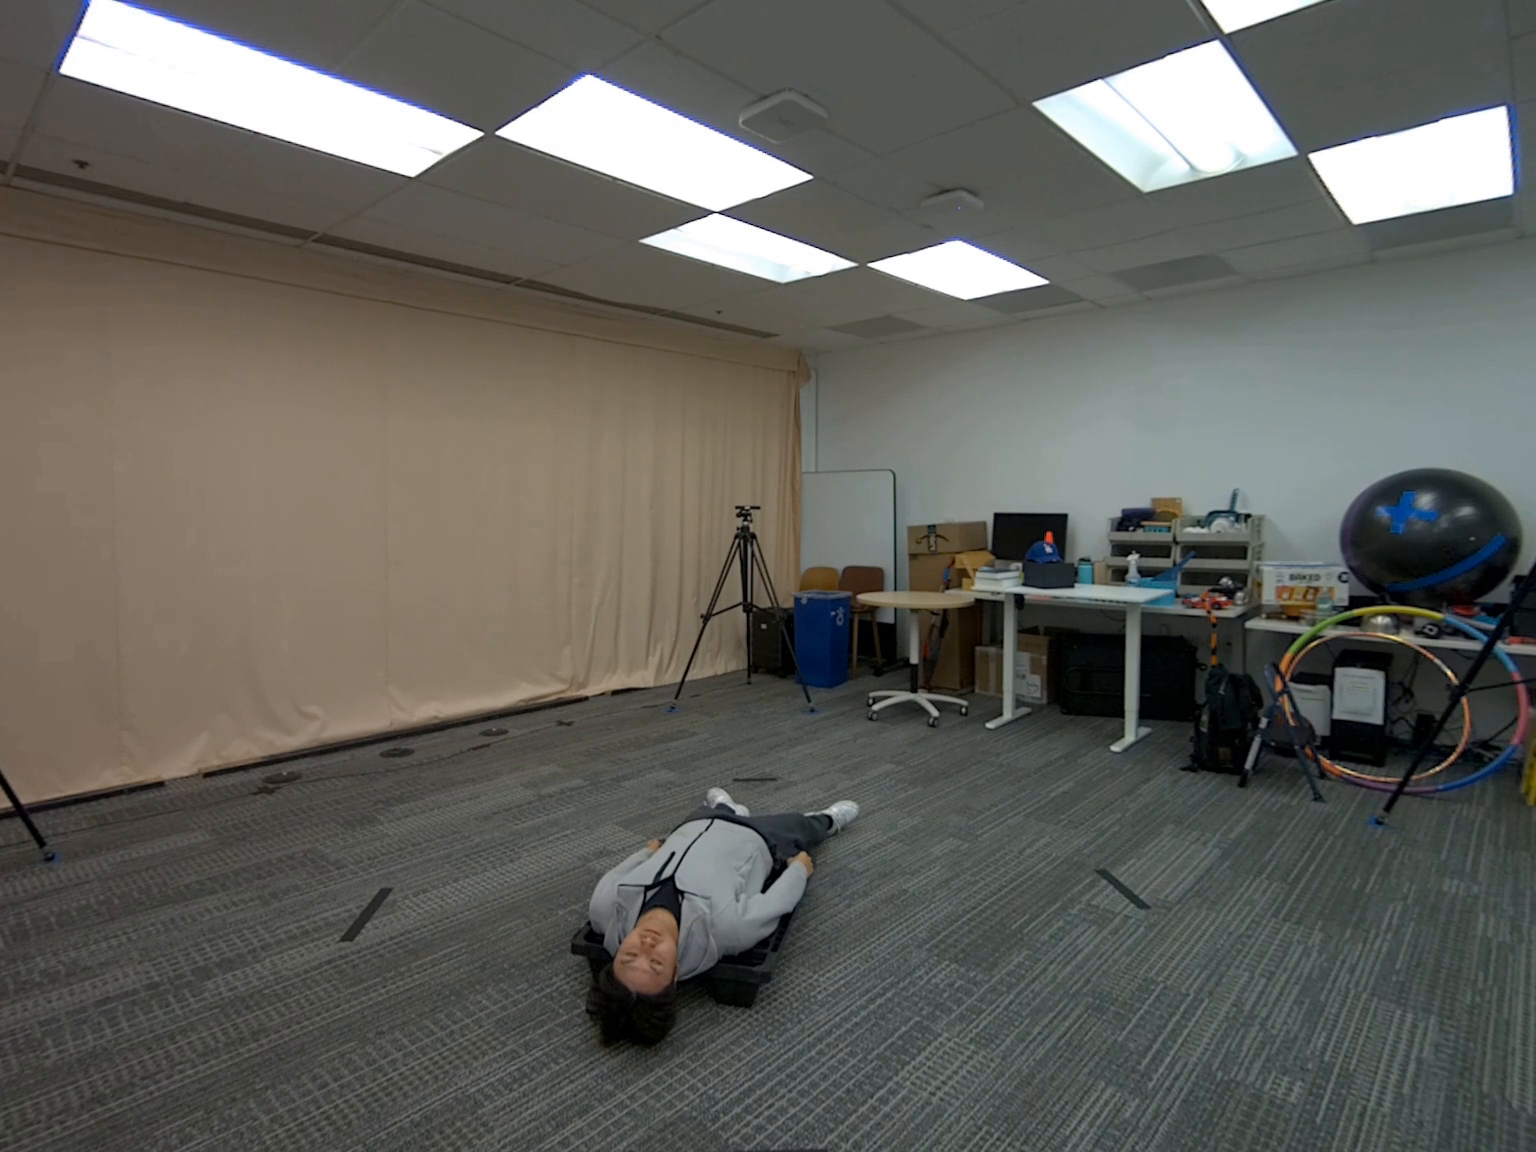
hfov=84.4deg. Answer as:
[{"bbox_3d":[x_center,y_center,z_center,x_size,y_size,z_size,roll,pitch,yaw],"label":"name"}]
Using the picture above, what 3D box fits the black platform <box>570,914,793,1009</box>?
[{"bbox_3d":[-0.198,1.083,2.736,0.617,0.143,0.793,4,7,16],"label":"black platform"}]
